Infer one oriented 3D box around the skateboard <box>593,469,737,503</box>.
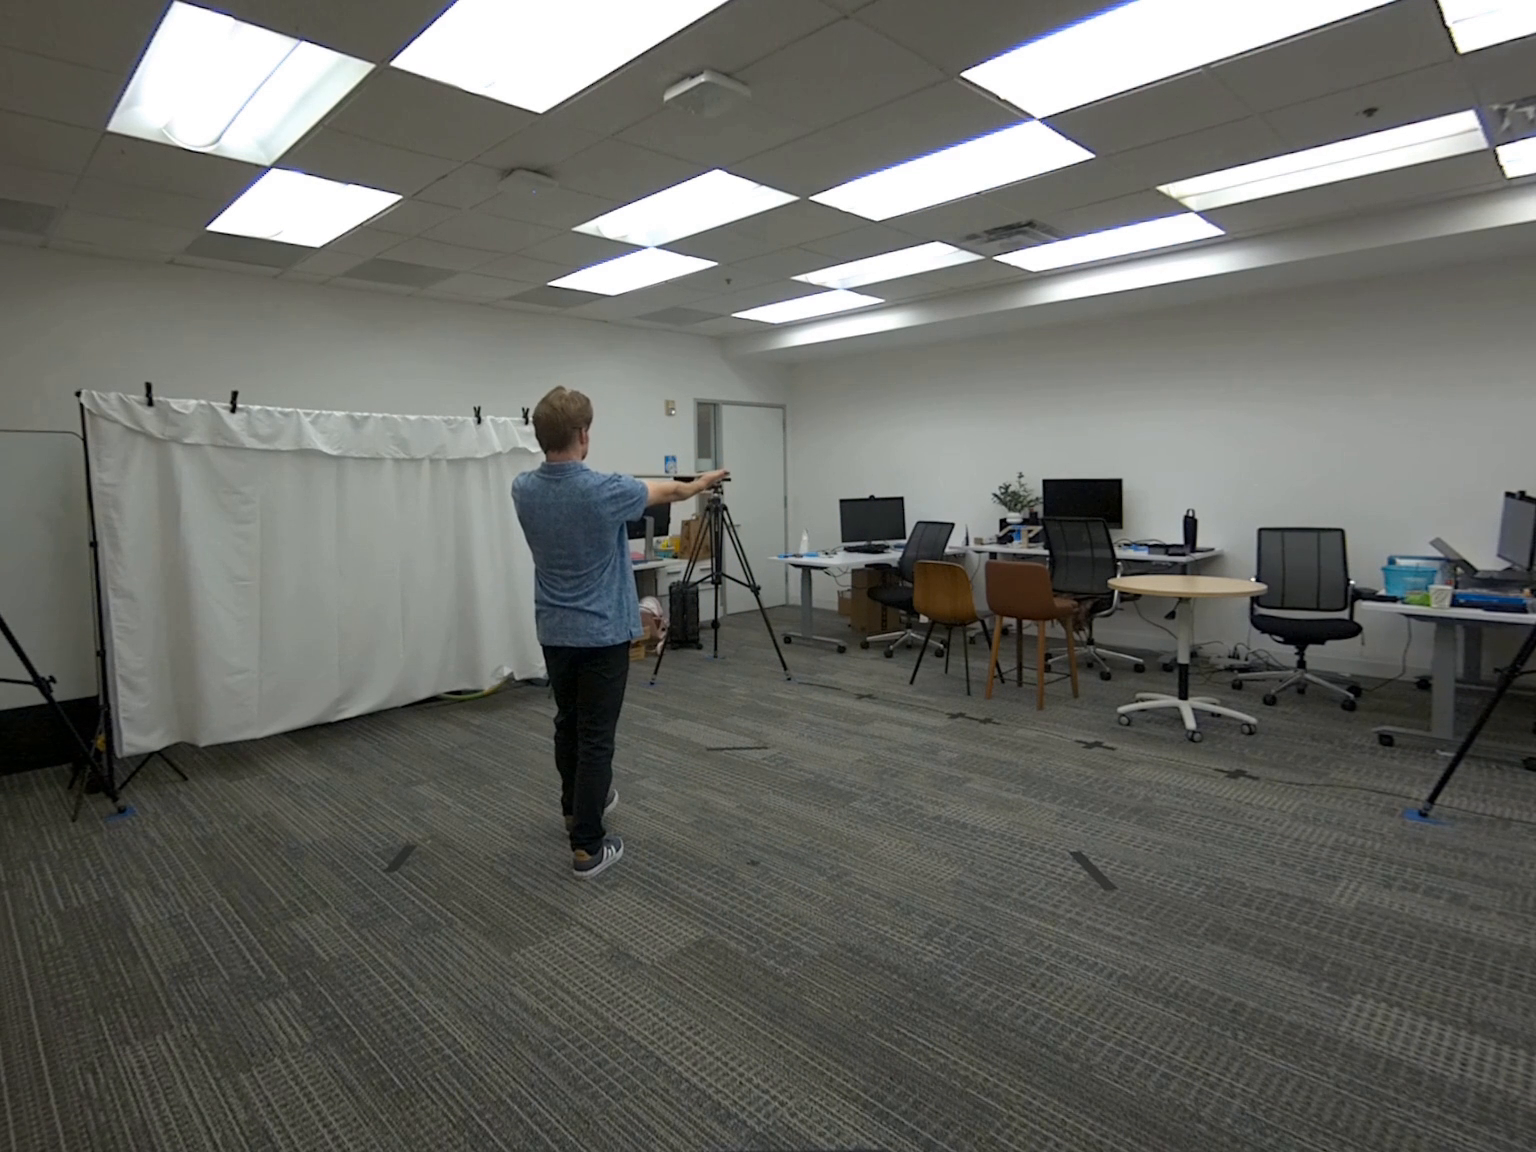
[{"bbox_3d":[-0.540,-0.385,3.630,0.794,0.109,0.194,1,14,10],"label":"skateboard"}]
